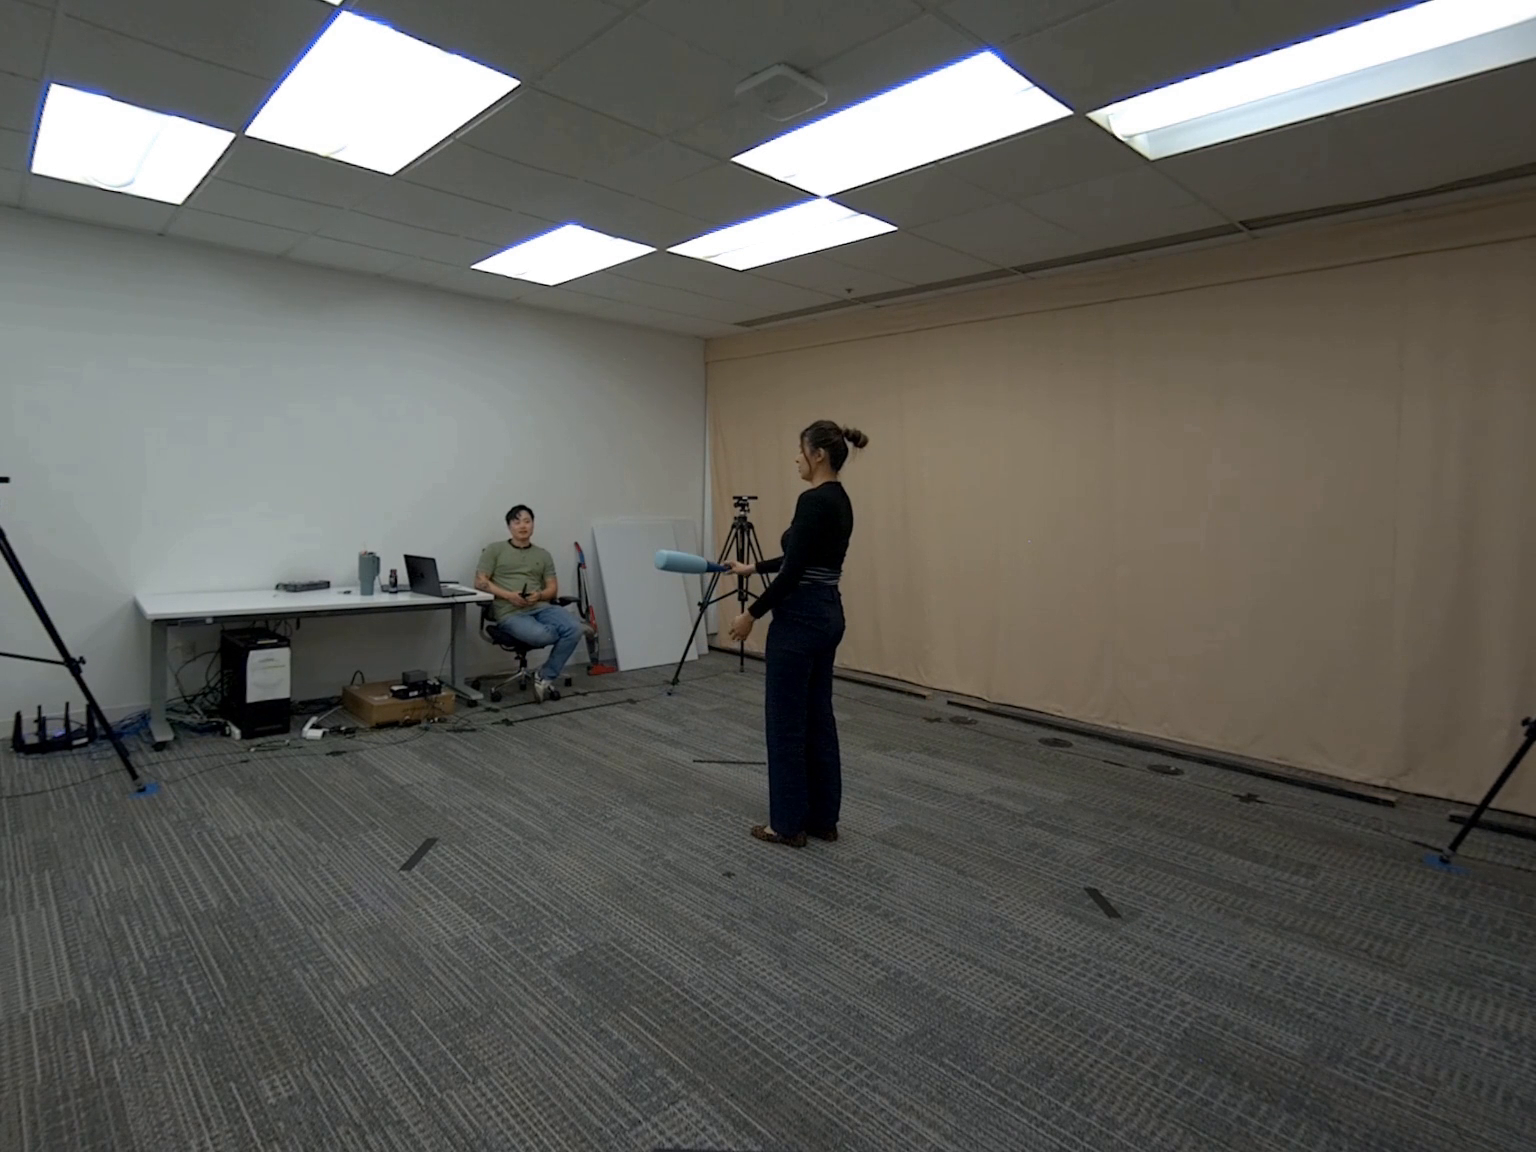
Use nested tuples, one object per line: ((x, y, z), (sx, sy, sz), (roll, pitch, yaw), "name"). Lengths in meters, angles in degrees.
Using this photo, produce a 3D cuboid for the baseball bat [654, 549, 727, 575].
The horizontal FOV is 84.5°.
((-0.277, -0.035, 3.732), (0.528, 0.089, 0.091), (9, -2, -42), "baseball bat")
